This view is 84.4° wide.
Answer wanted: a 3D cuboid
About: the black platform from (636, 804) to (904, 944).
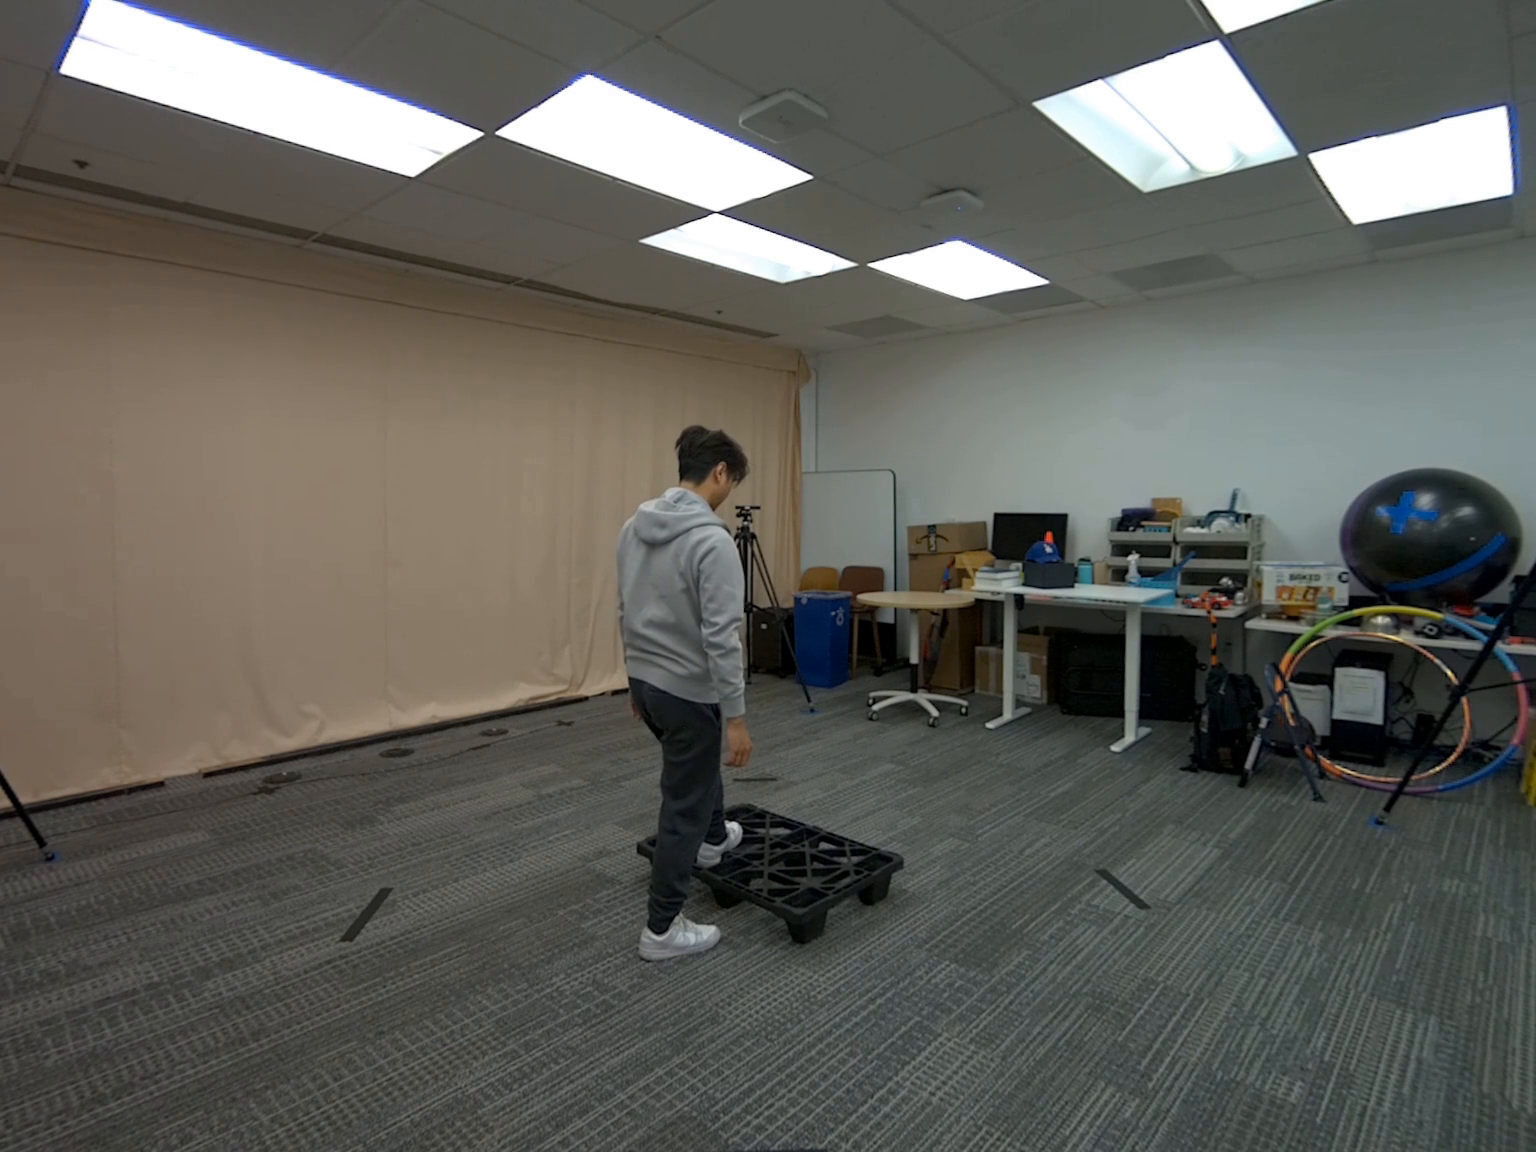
[{"bbox_3d":[-0.001,1.069,3.079,0.832,0.143,0.587,4,7,43],"label":"black platform"}]
